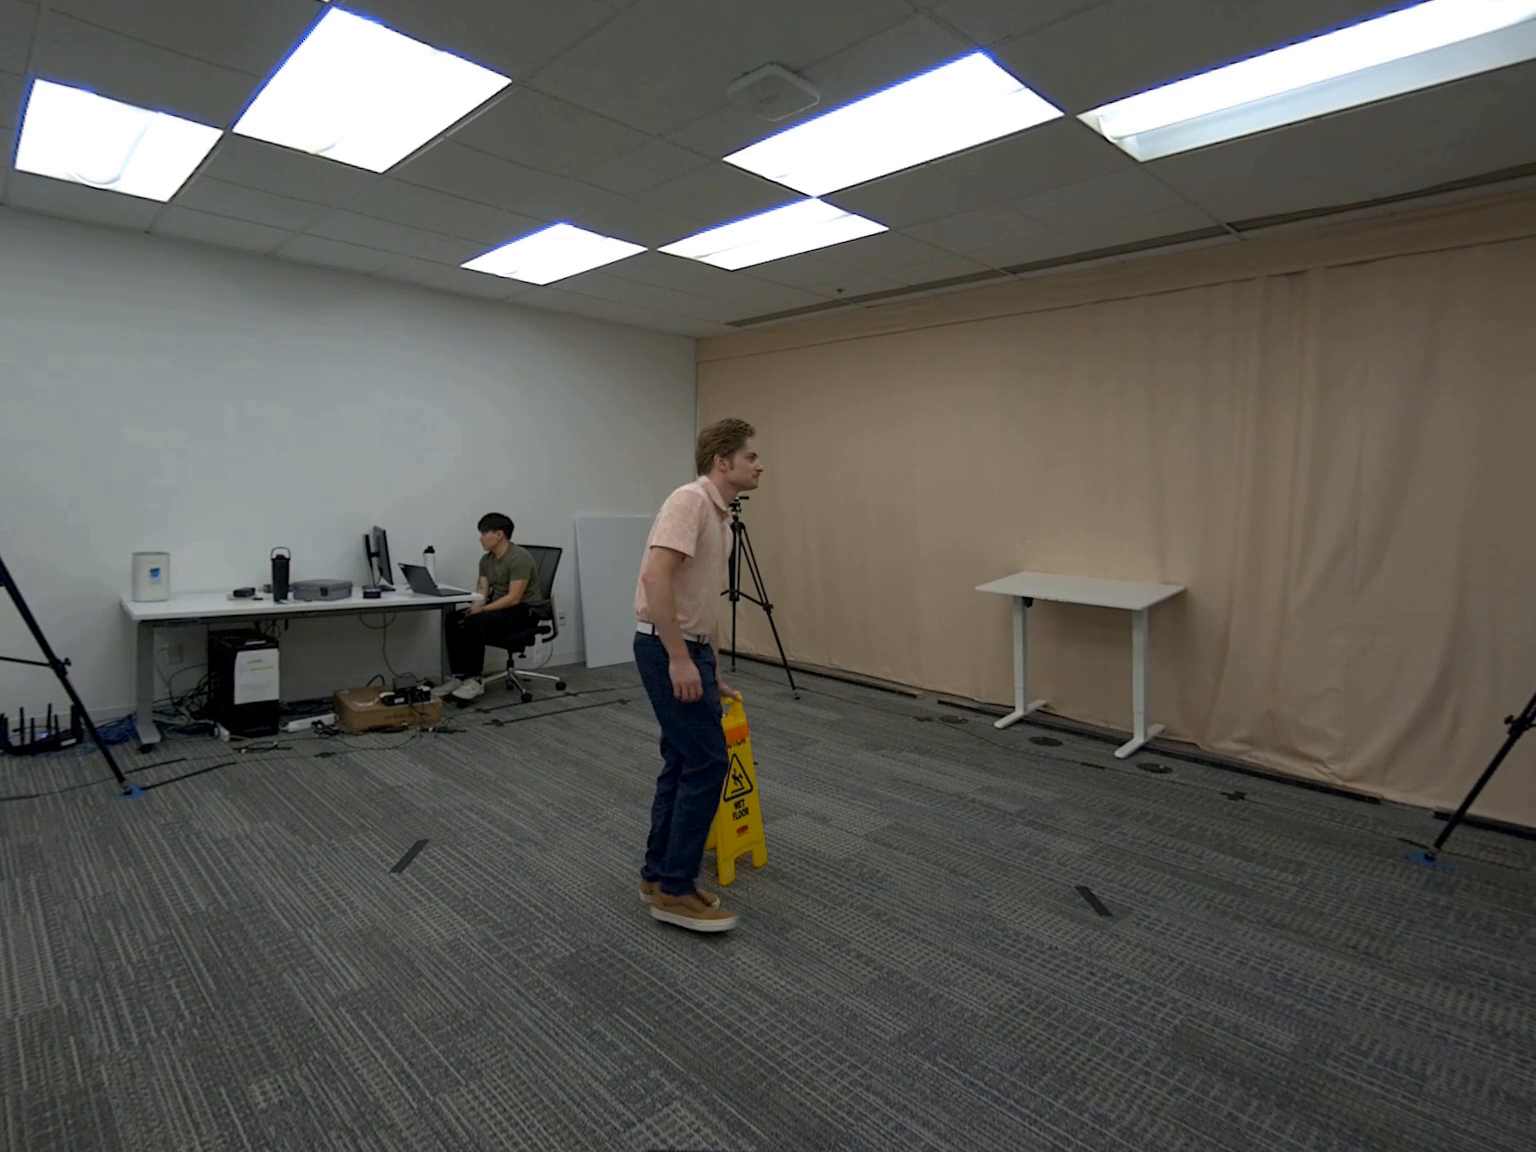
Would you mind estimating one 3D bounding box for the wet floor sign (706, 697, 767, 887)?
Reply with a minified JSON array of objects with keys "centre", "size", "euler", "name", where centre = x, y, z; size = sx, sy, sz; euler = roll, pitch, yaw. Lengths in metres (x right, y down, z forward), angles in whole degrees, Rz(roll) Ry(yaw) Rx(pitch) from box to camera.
[{"centre":[-0.176,0.775,3.172],"size":[0.297,0.644,0.276],"euler":[4,5,36],"name":"wet floor sign"}]
